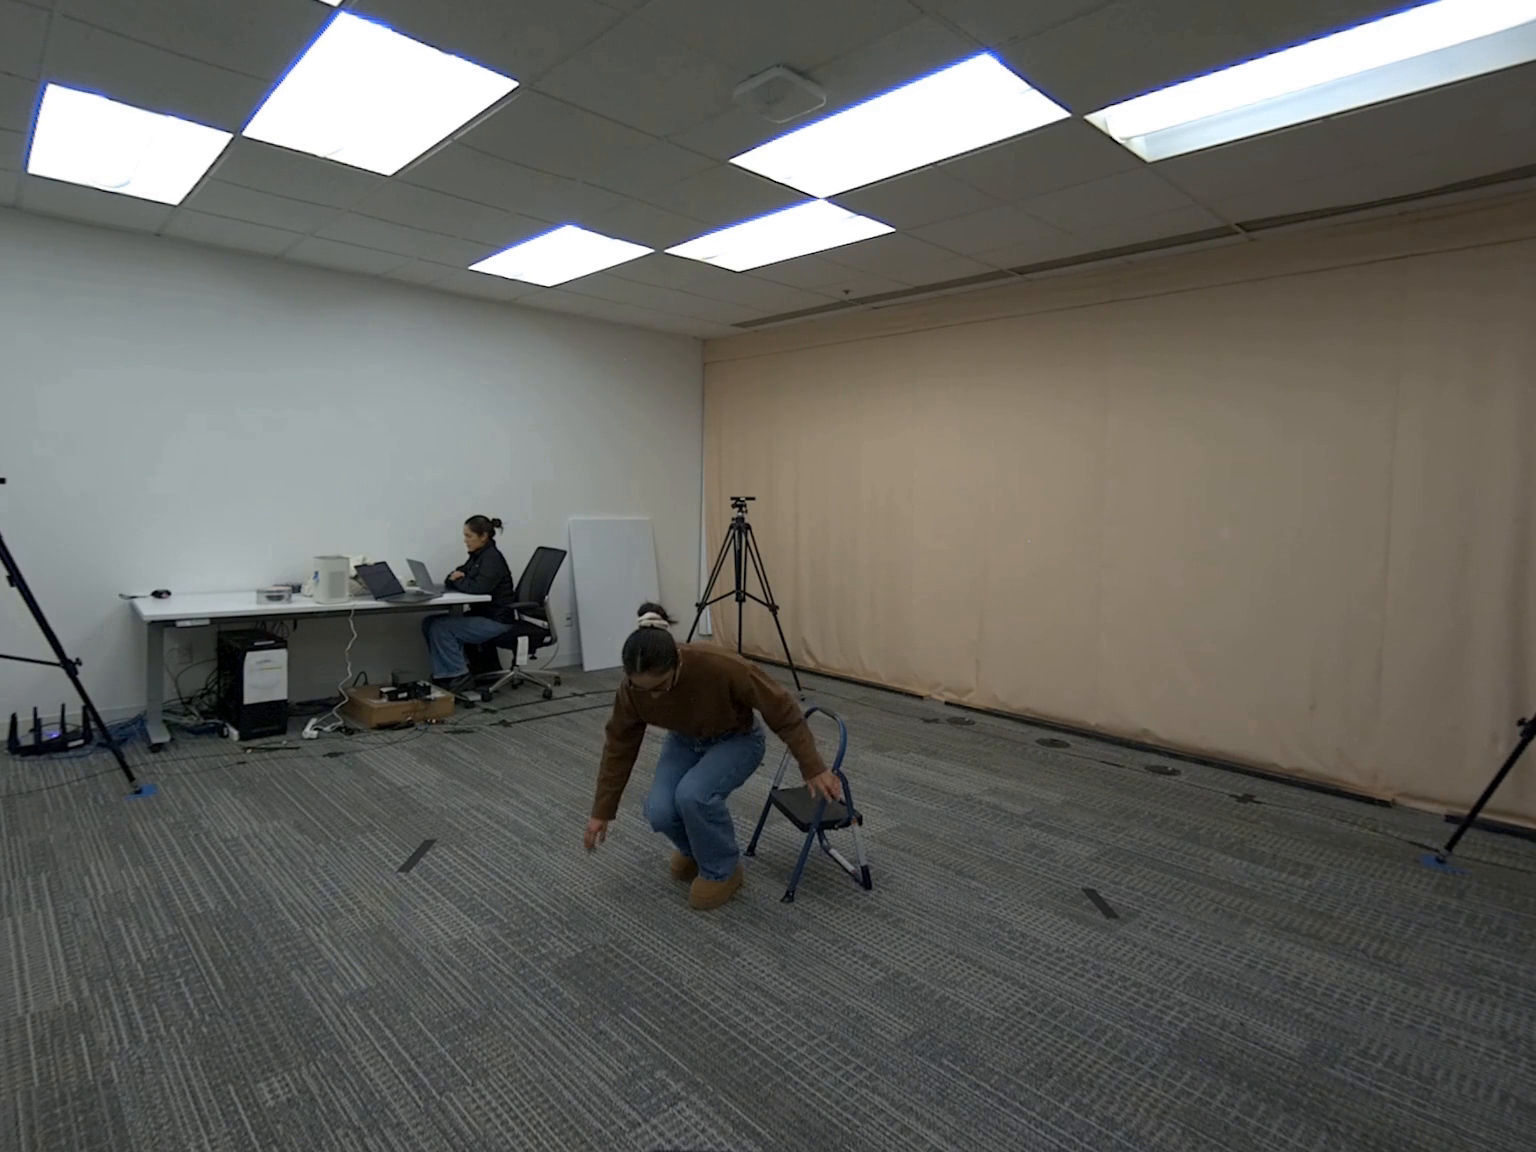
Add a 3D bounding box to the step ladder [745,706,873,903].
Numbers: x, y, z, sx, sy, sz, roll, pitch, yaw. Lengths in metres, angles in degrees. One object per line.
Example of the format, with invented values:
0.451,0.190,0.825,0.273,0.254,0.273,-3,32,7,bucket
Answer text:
0.142,0.811,3.139,0.344,0.604,0.438,0,4,-21,step ladder
